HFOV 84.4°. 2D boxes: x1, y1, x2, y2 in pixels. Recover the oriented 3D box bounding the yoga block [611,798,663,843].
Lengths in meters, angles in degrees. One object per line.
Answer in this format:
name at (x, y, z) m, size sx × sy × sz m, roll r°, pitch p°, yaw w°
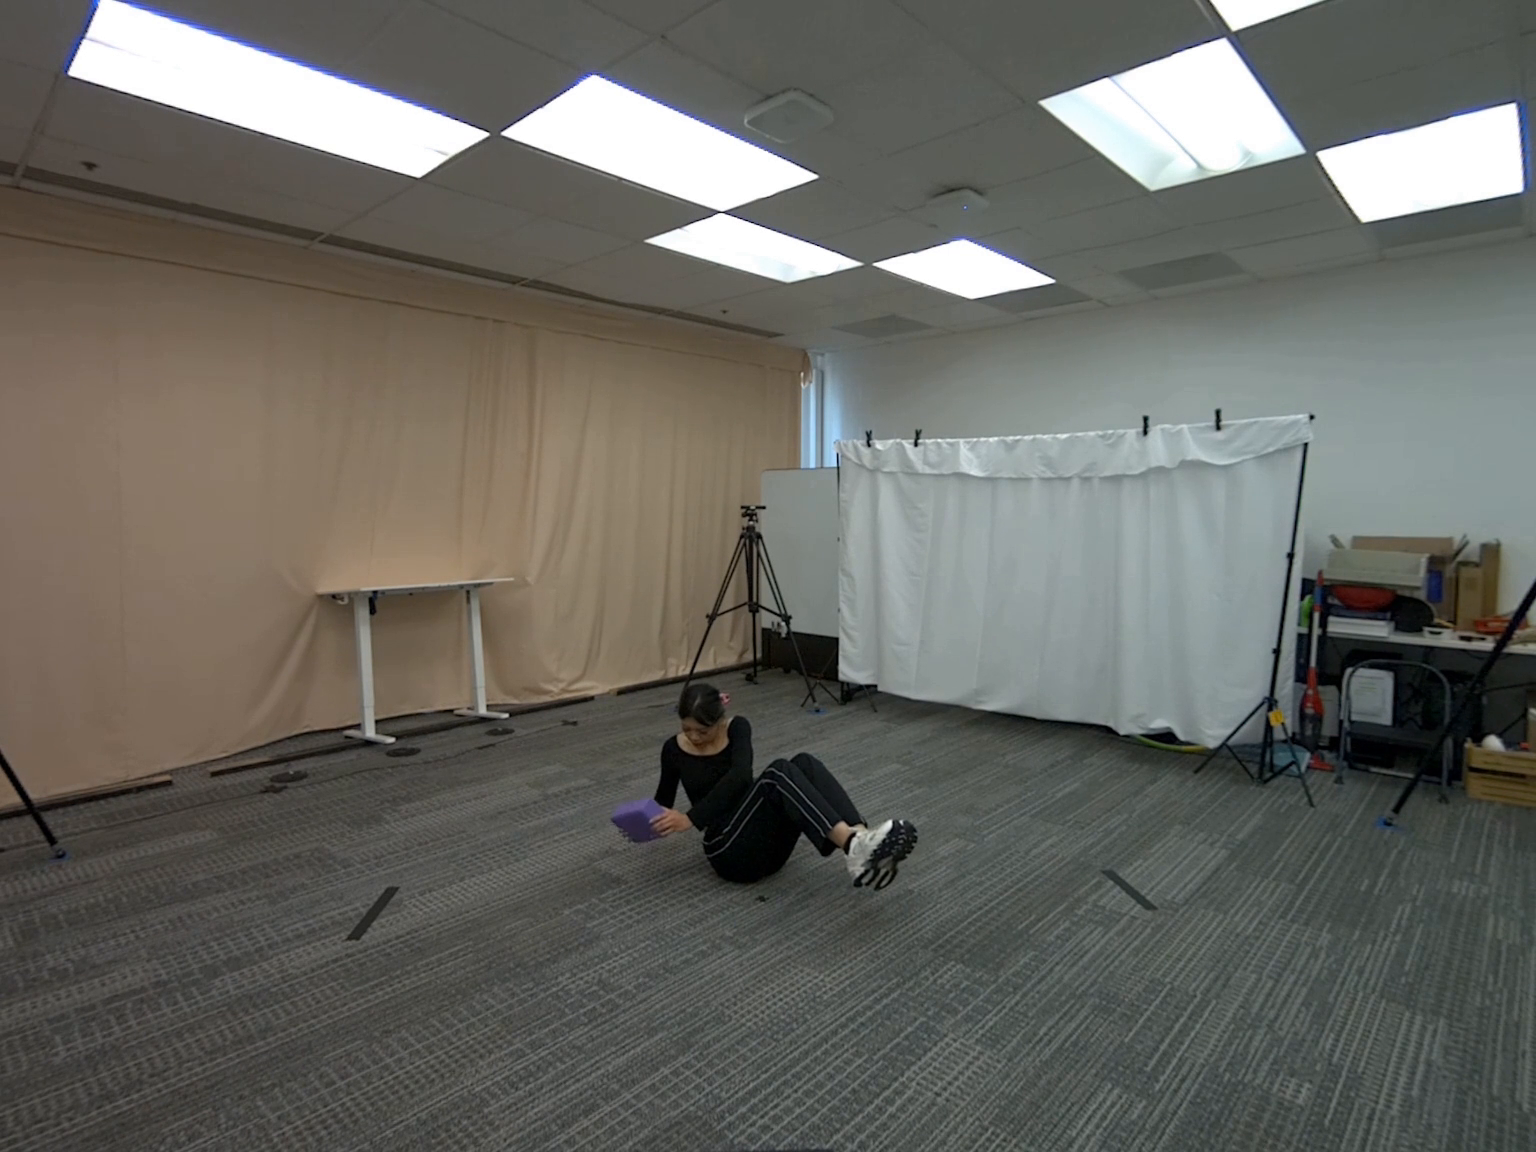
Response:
yoga block at (-0.459, 0.898, 3.123) m, size 0.233 × 0.147 × 0.076 m, roll -29°, pitch 17°, yaw 45°
